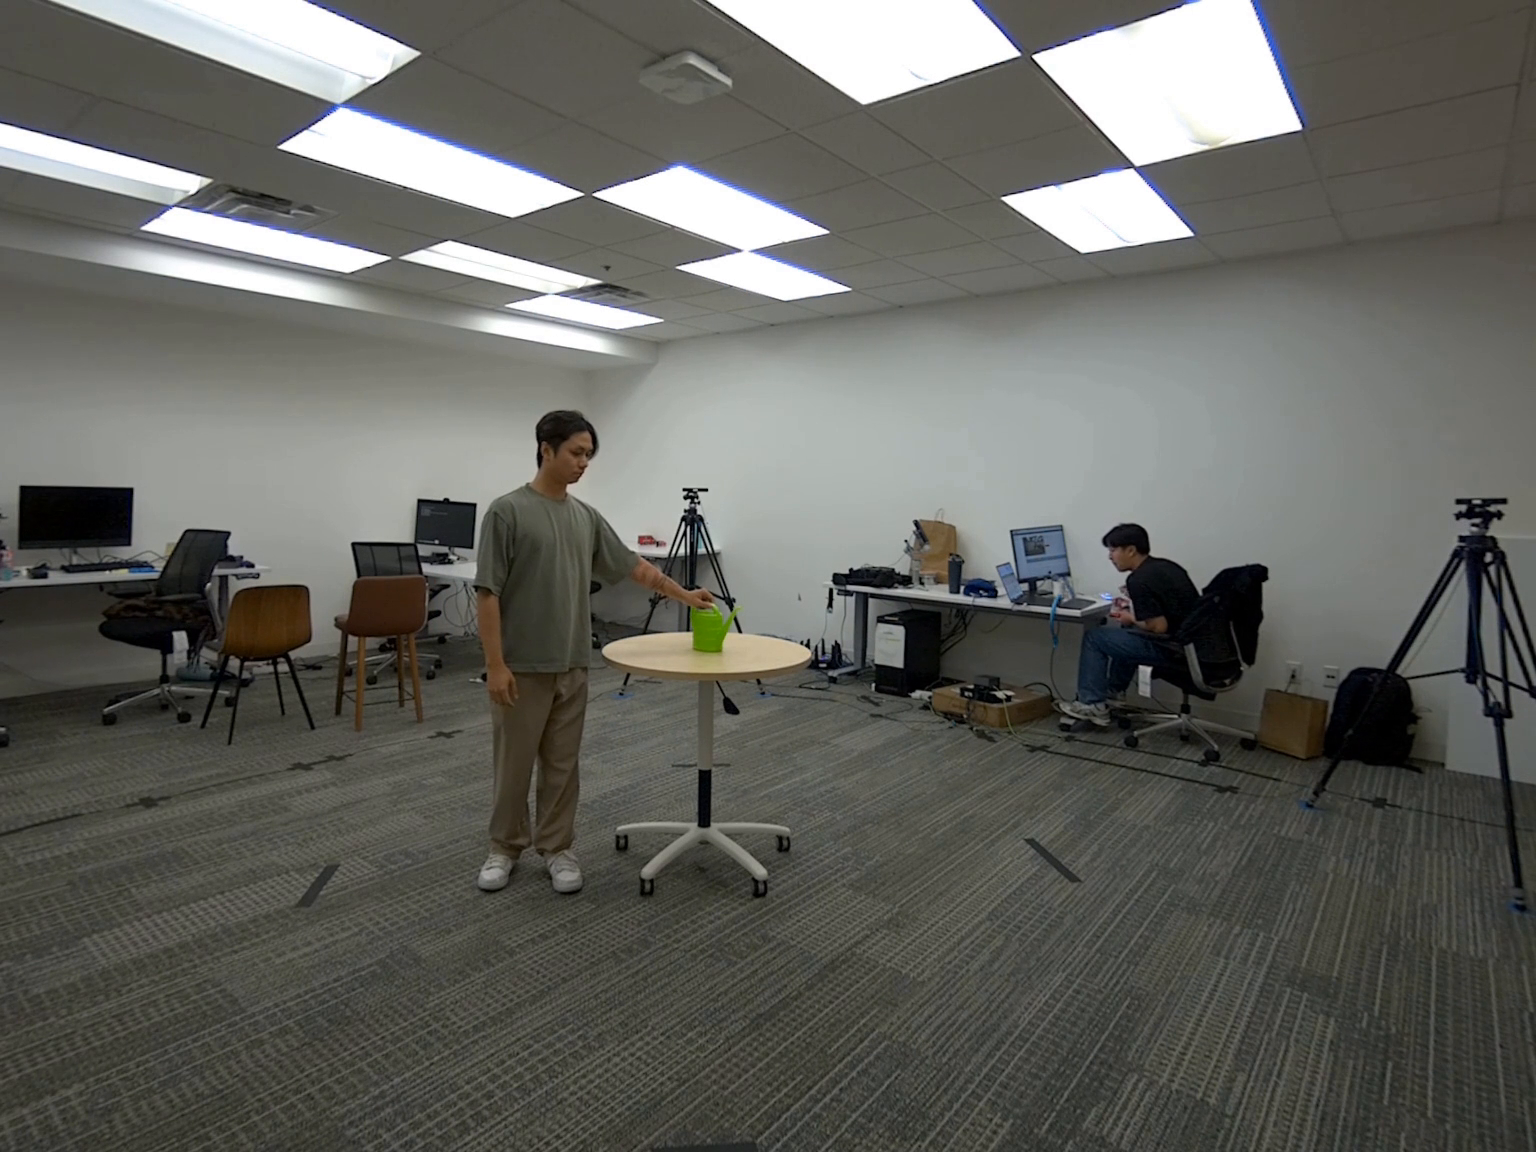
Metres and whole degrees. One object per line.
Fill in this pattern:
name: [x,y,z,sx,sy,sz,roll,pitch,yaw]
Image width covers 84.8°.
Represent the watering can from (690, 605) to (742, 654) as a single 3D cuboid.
watering can: [-0.211,0.189,3.100,0.095,0.177,0.286,1,2,-31]
